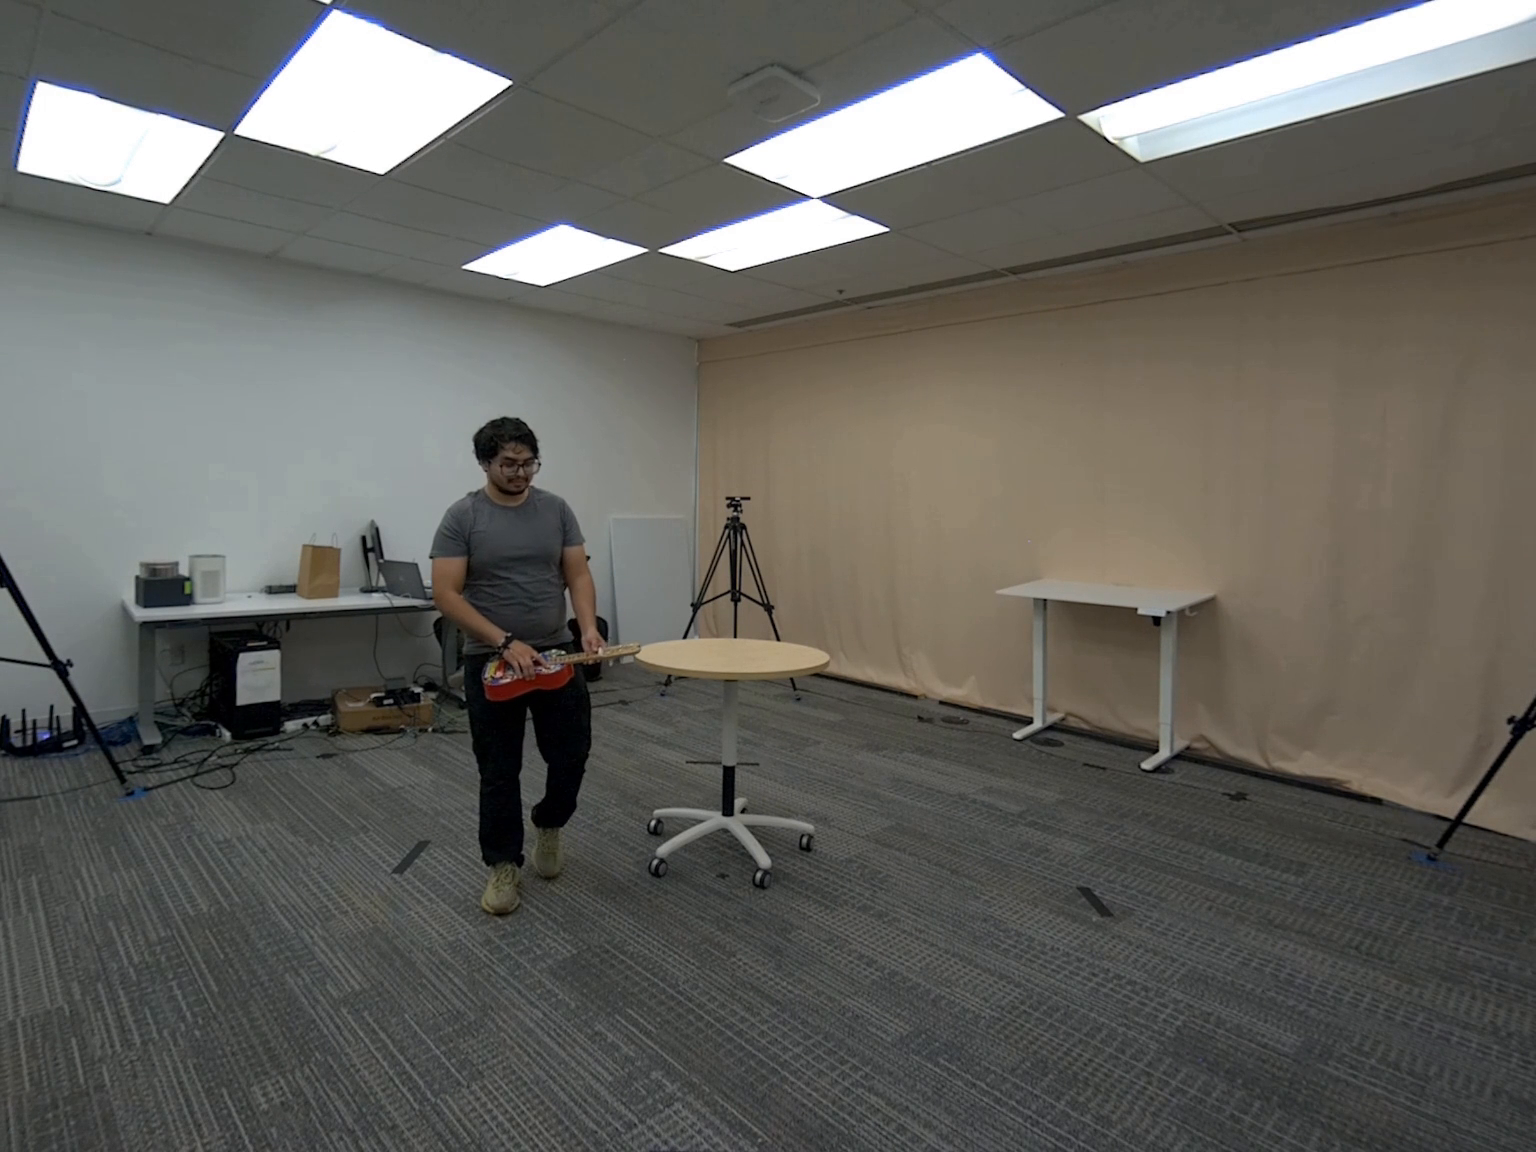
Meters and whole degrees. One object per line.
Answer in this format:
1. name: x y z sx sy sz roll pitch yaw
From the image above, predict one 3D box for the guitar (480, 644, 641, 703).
1. guitar: -0.653 0.300 2.648 0.499 0.069 0.196 -5 25 5
